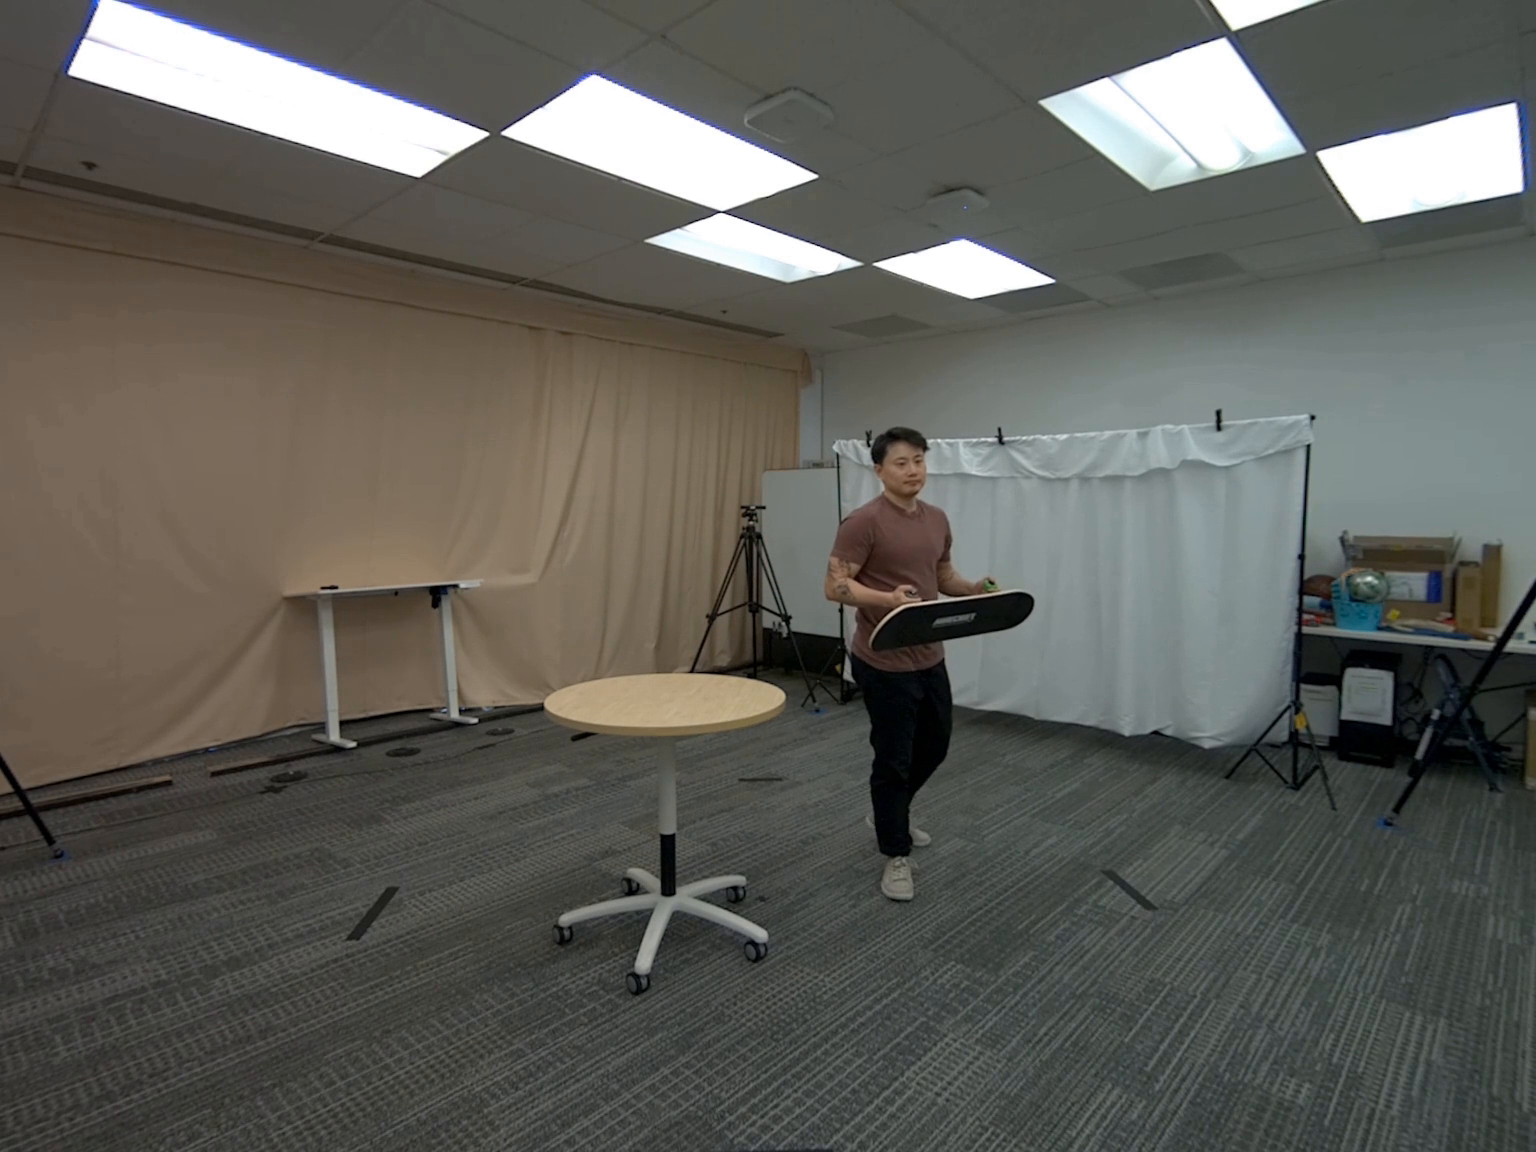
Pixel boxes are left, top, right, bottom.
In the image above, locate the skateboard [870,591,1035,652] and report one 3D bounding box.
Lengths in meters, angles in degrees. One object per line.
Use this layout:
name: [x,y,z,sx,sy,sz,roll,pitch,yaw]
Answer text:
skateboard: [0.639,0.133,2.951,0.764,0.192,0.114,-5,41,-32]
